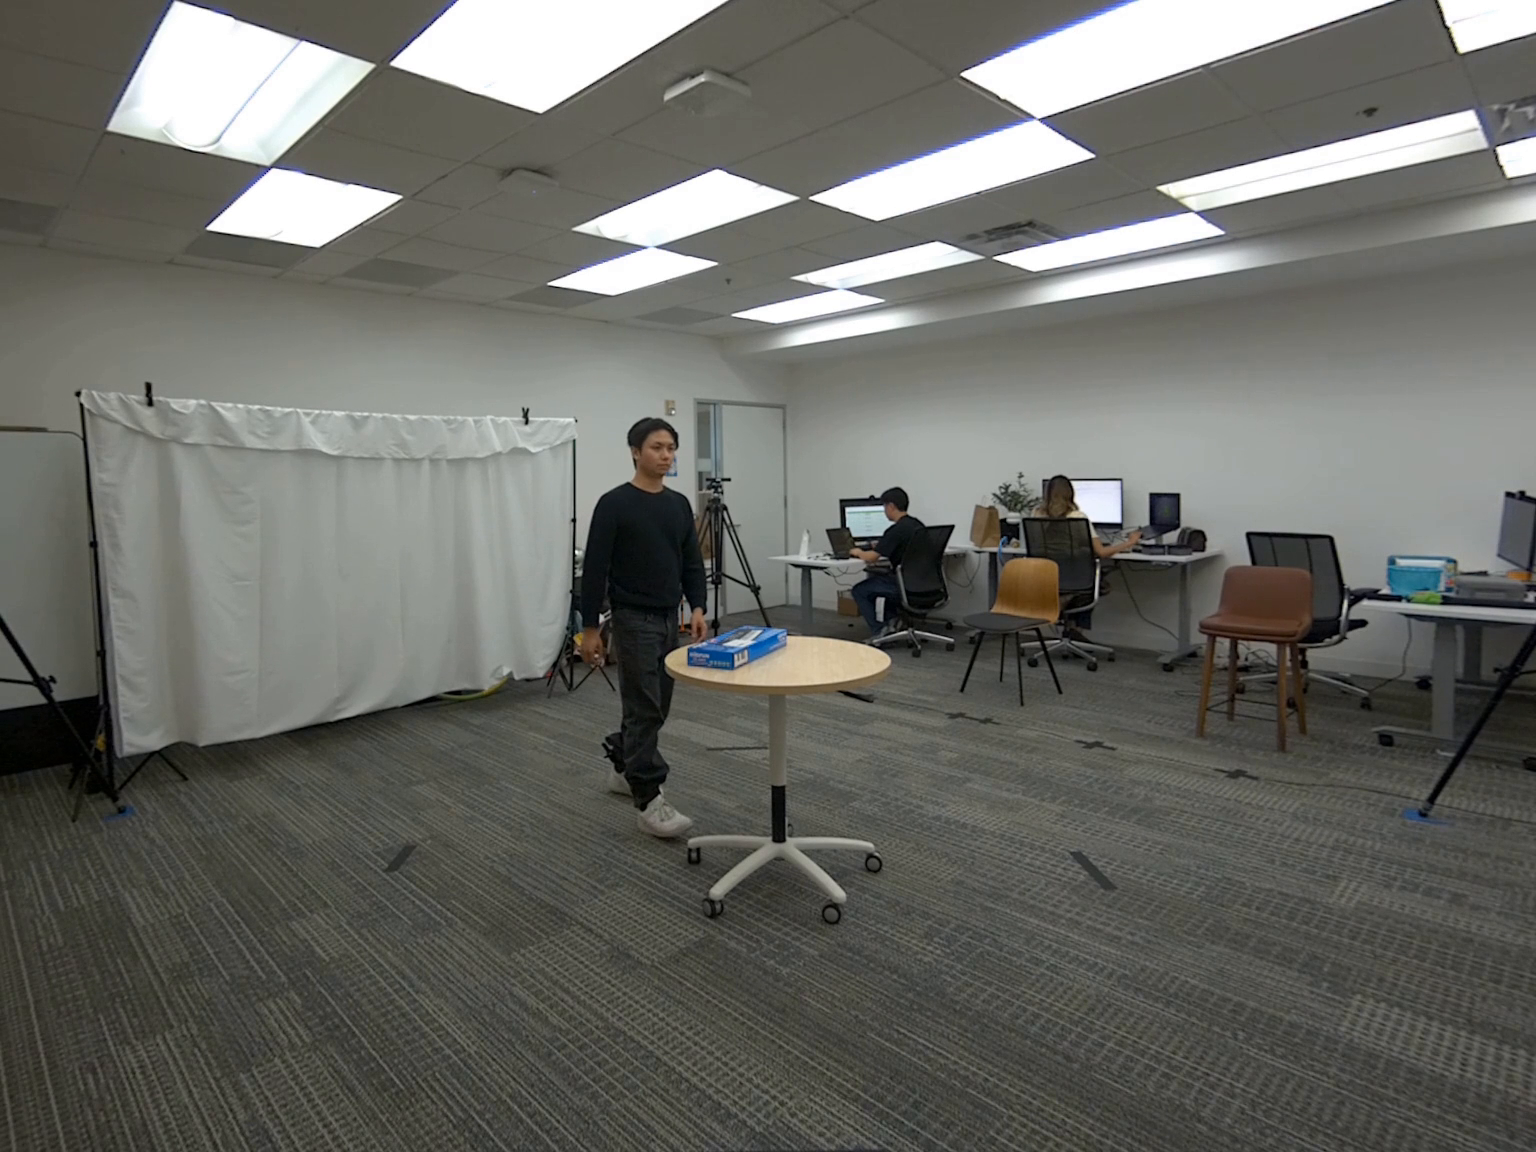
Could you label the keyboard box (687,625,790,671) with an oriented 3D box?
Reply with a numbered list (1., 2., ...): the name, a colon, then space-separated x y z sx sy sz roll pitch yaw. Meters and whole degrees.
1. keyboard box: -0.095 0.242 2.972 0.180 0.059 0.429 2 8 25
